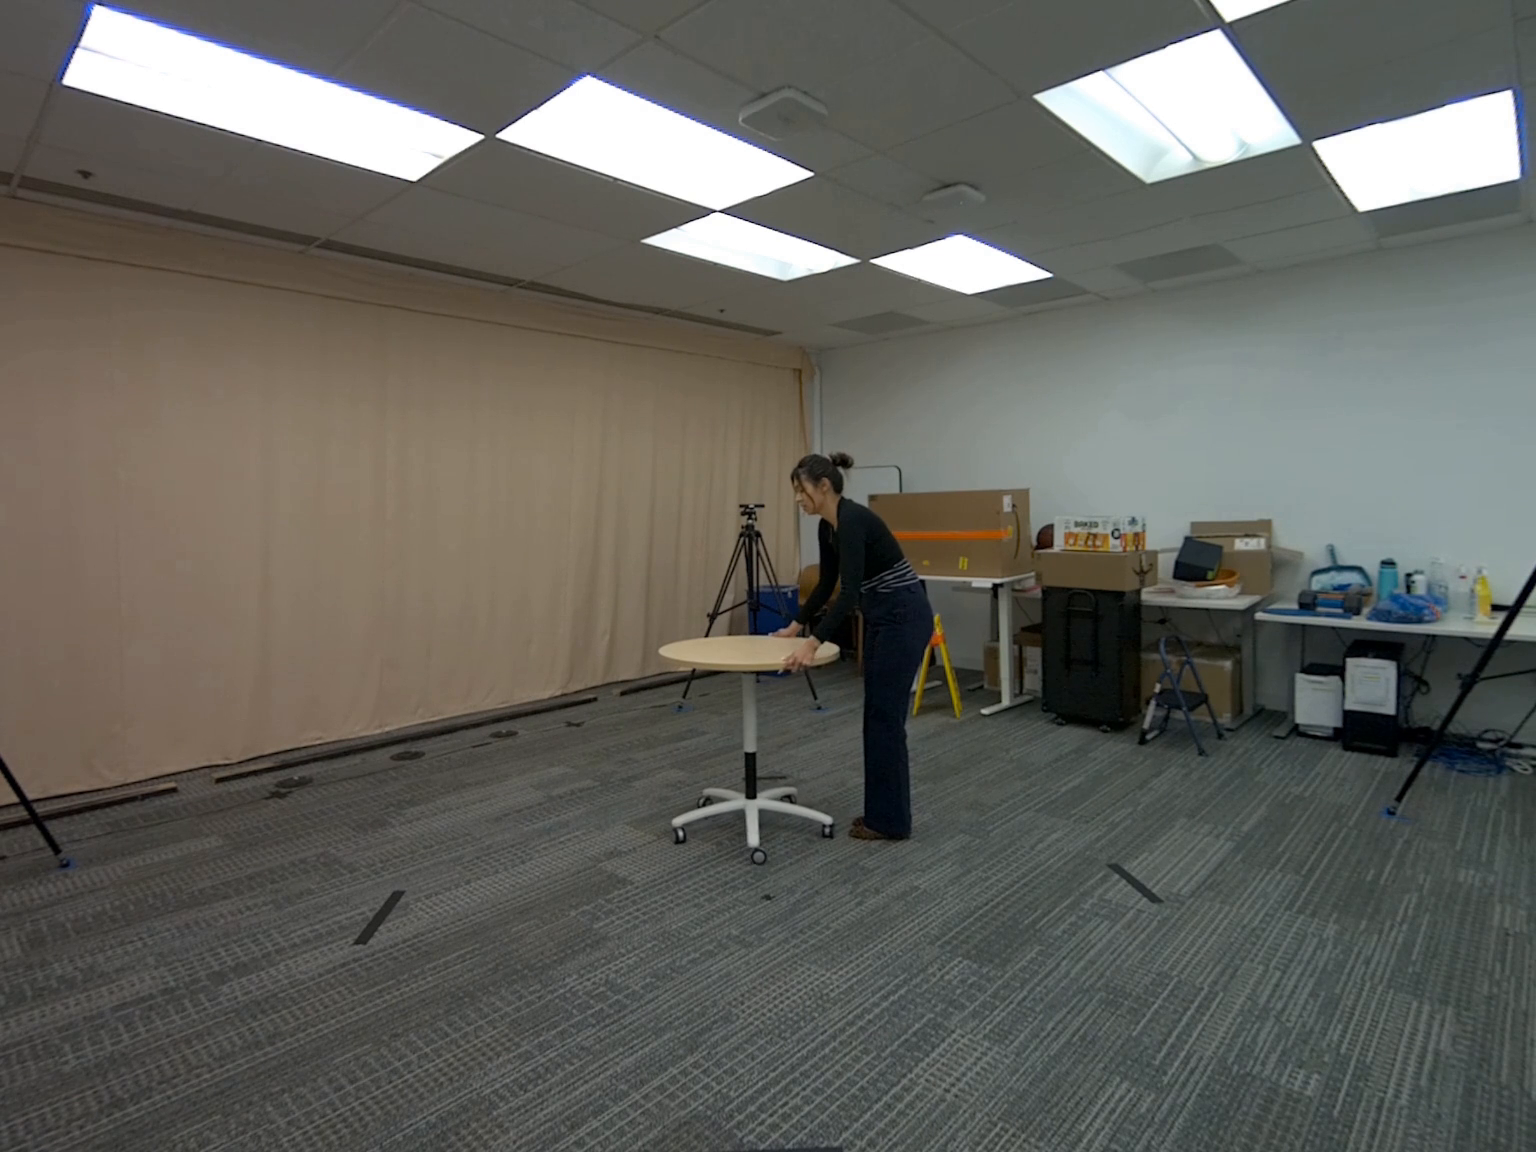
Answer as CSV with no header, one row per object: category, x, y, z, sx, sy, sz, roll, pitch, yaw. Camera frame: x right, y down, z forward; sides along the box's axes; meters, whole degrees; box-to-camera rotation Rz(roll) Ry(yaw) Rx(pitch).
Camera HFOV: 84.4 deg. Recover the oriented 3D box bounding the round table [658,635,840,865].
round table,-0.075,0.702,3.587,0.763,0.792,0.766,-1,3,-2
